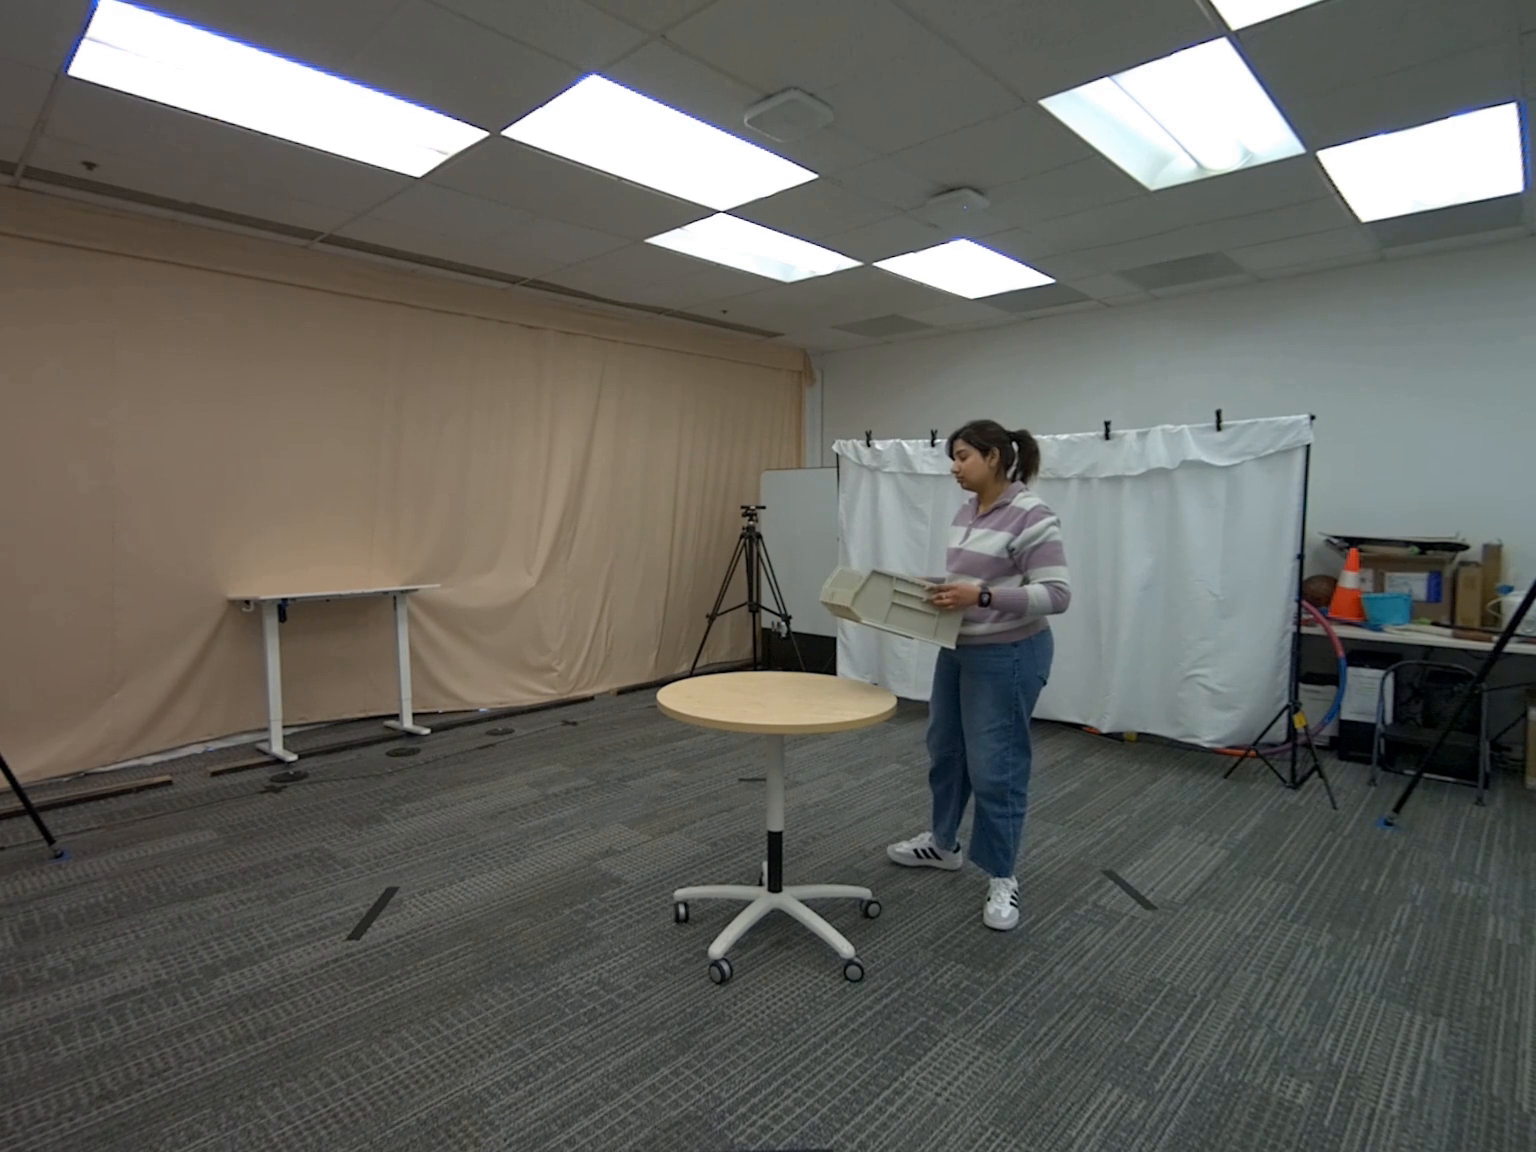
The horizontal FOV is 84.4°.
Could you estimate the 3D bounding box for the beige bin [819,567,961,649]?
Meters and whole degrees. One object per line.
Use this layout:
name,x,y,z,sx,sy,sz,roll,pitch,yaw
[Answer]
beige bin,0.408,0.096,2.821,0.375,0.189,0.425,17,-2,-7
